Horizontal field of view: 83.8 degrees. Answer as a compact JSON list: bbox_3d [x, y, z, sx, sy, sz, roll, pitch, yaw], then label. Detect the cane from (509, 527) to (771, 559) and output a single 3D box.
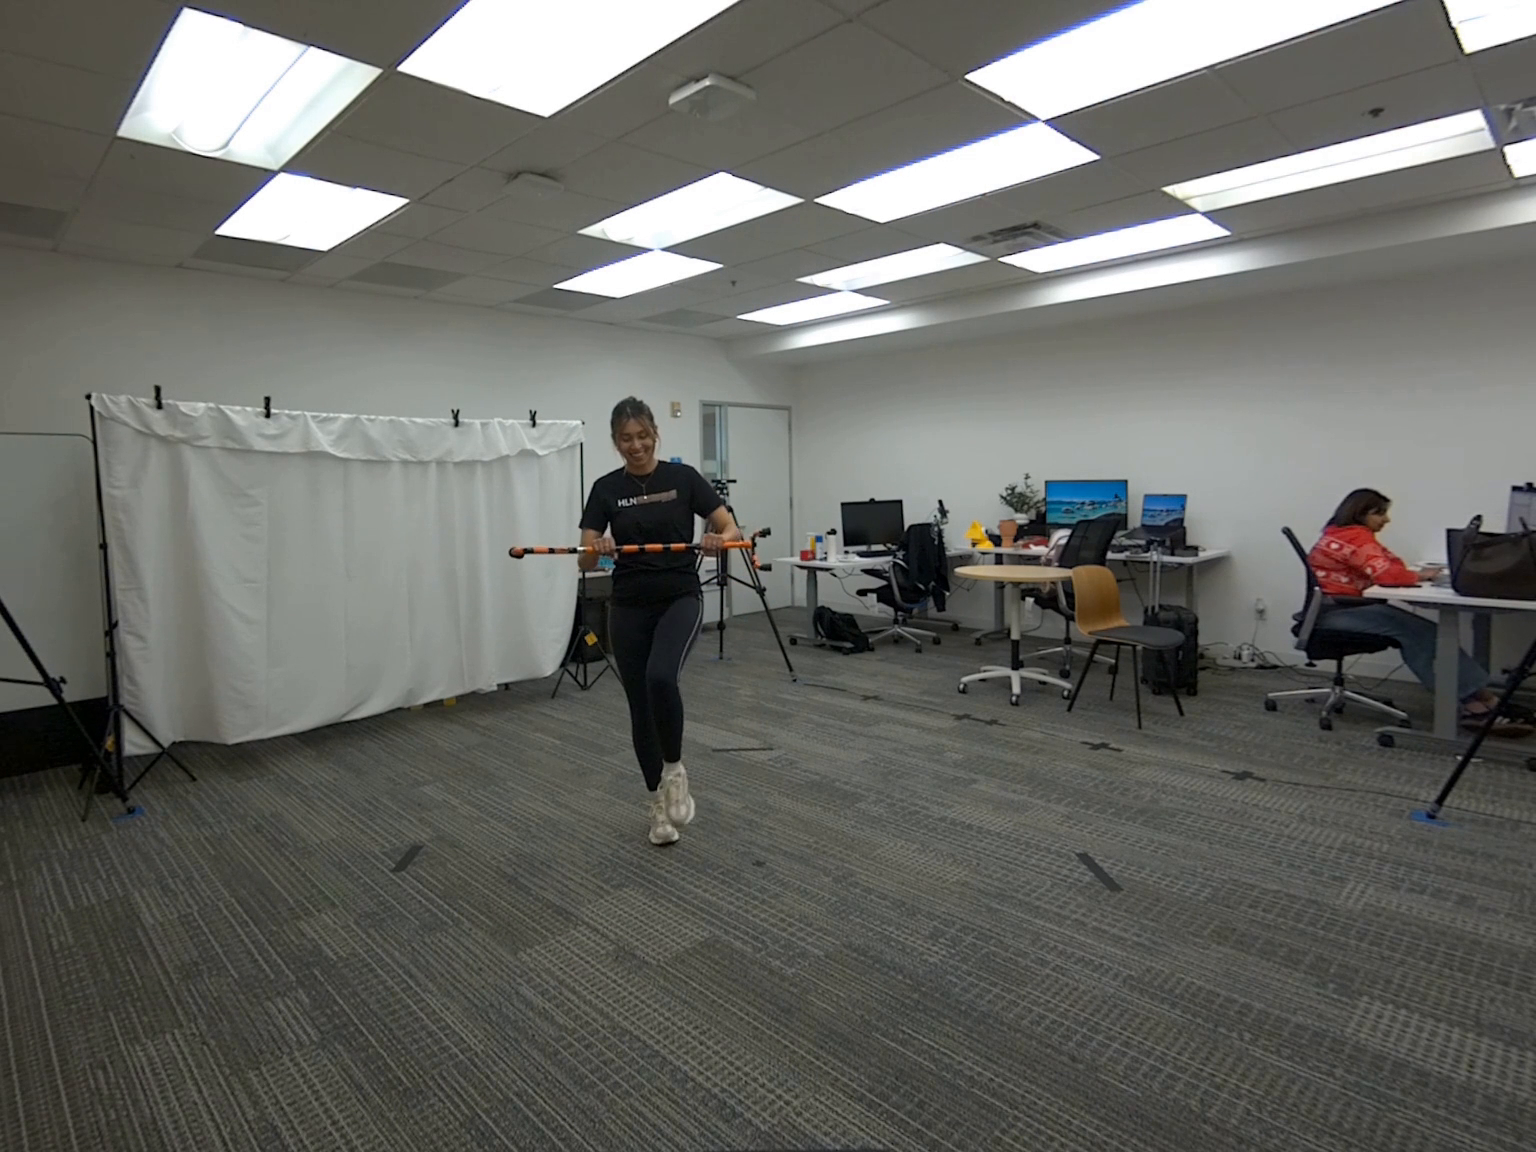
[{"bbox_3d":[-0.462,-0.078,2.991,0.909,0.153,0.204,-2,-9,1],"label":"cane"}]
